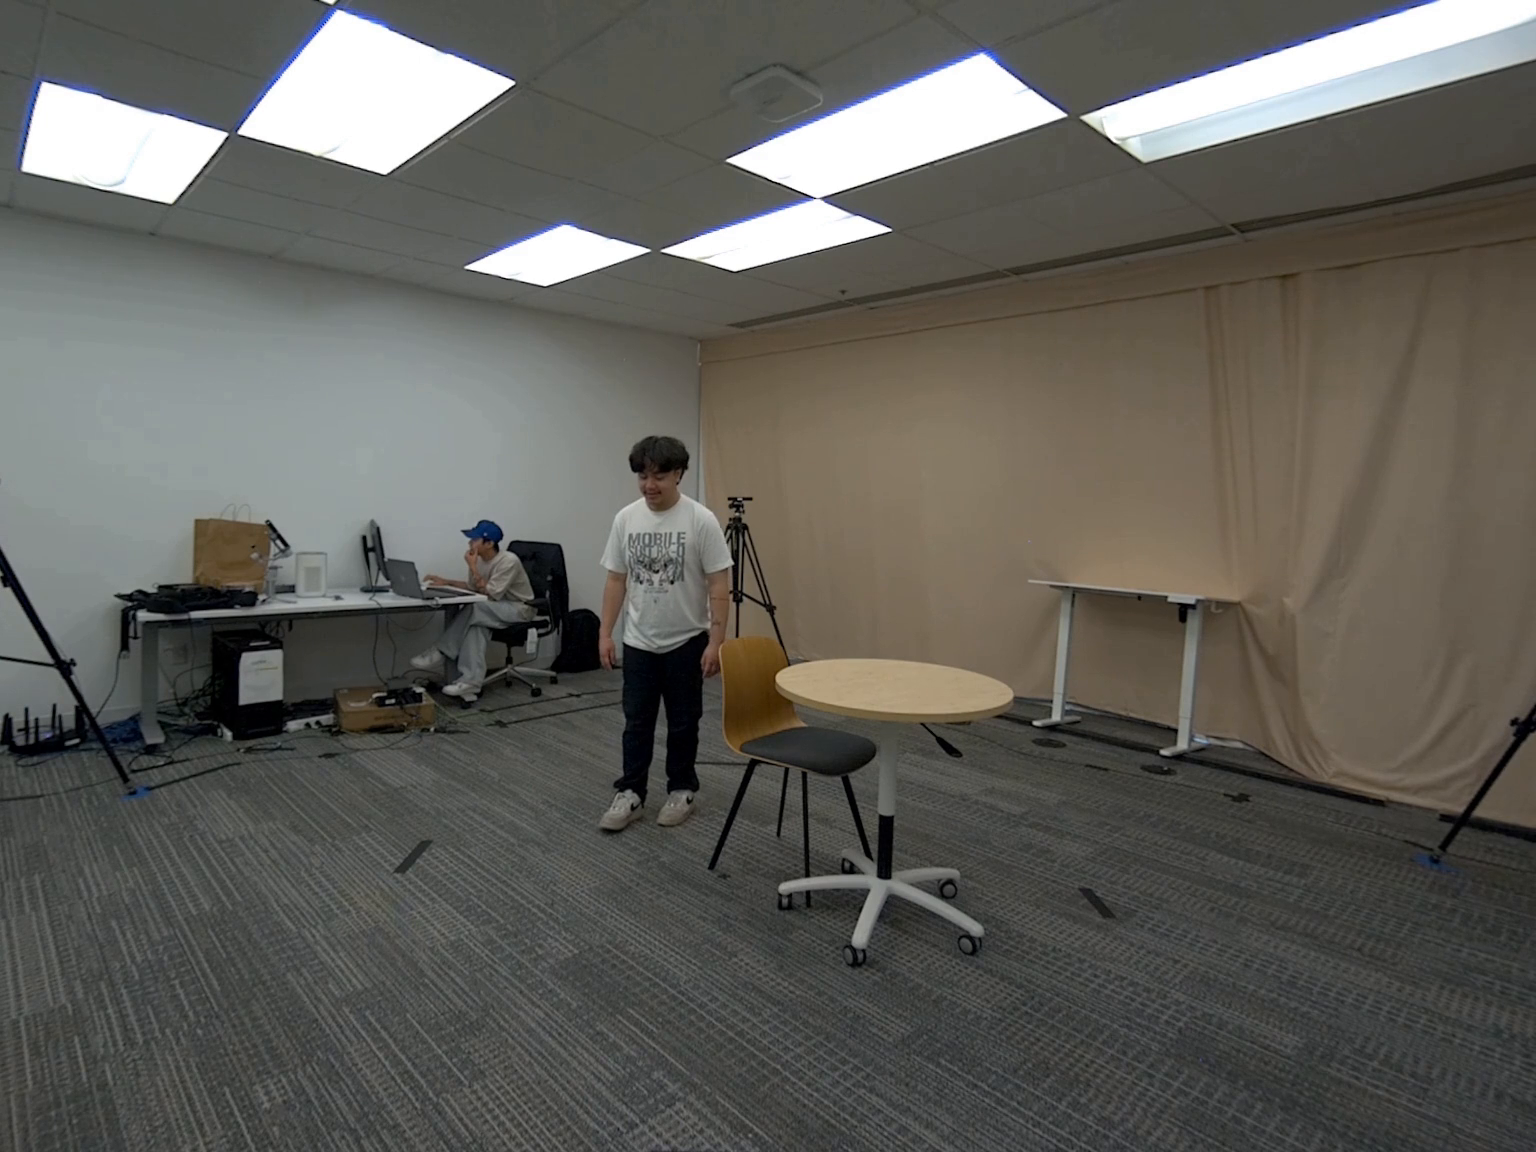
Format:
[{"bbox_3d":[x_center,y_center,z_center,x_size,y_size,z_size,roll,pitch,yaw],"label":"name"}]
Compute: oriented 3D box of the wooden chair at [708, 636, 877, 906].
[{"bbox_3d":[0.098,0.681,3.150,0.535,0.877,0.467,-1,1,39],"label":"wooden chair"}]
